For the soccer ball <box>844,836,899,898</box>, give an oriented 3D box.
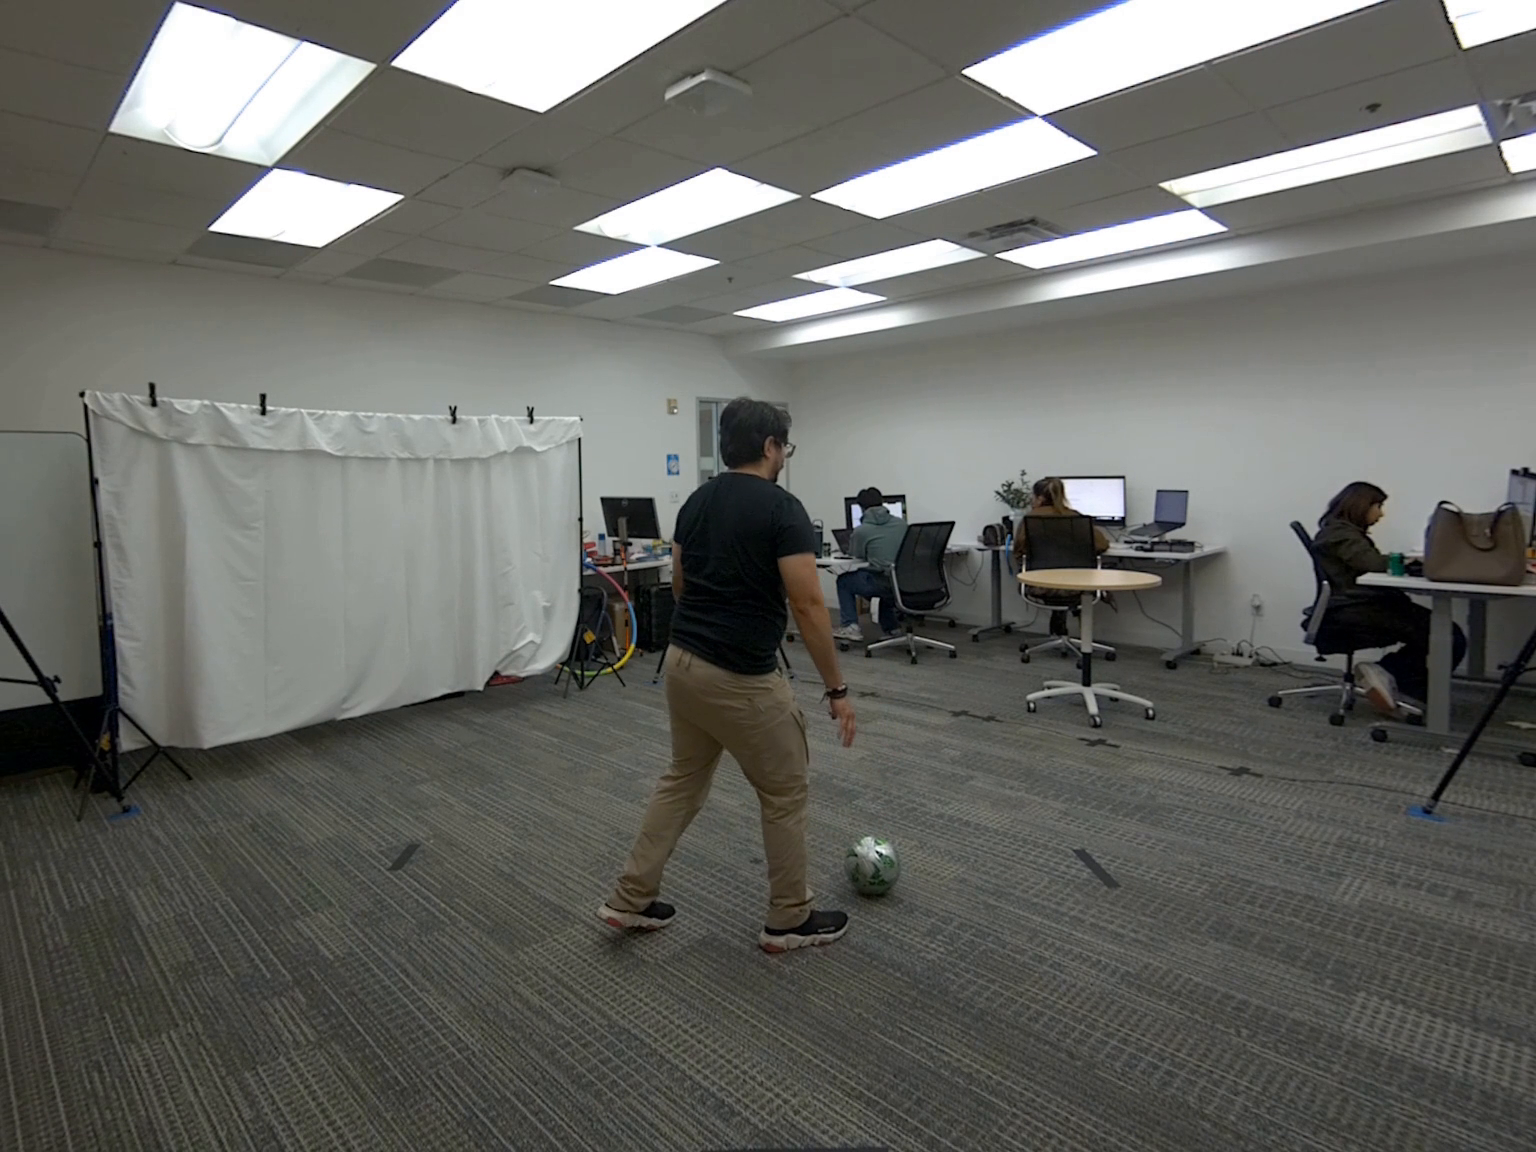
[{"bbox_3d":[0.357,0.965,2.860,0.187,0.187,0.188,-1,5,-2],"label":"soccer ball"}]
